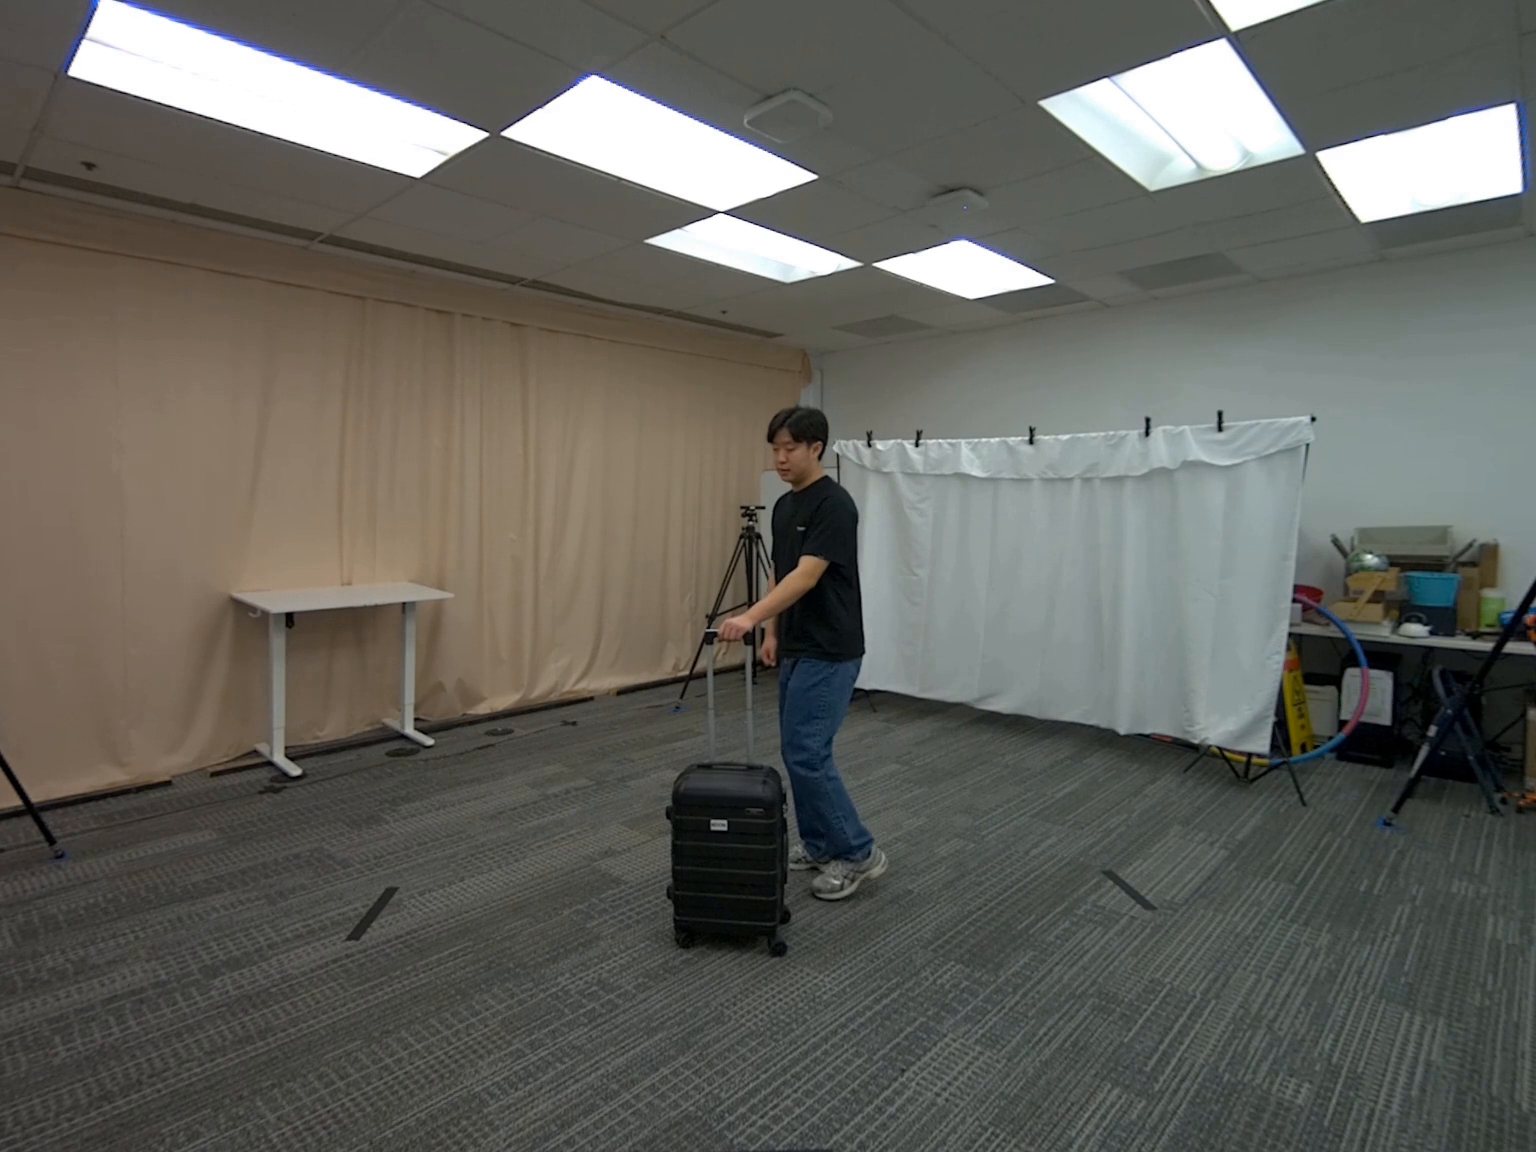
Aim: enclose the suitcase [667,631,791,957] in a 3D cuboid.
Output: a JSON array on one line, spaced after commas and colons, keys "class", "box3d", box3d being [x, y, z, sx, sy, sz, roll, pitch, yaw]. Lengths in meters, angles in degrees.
[{"class": "suitcase", "box3d": [-0.129, 0.691, 2.702, 0.387, 0.976, 0.255, -1, 4, 8]}]
